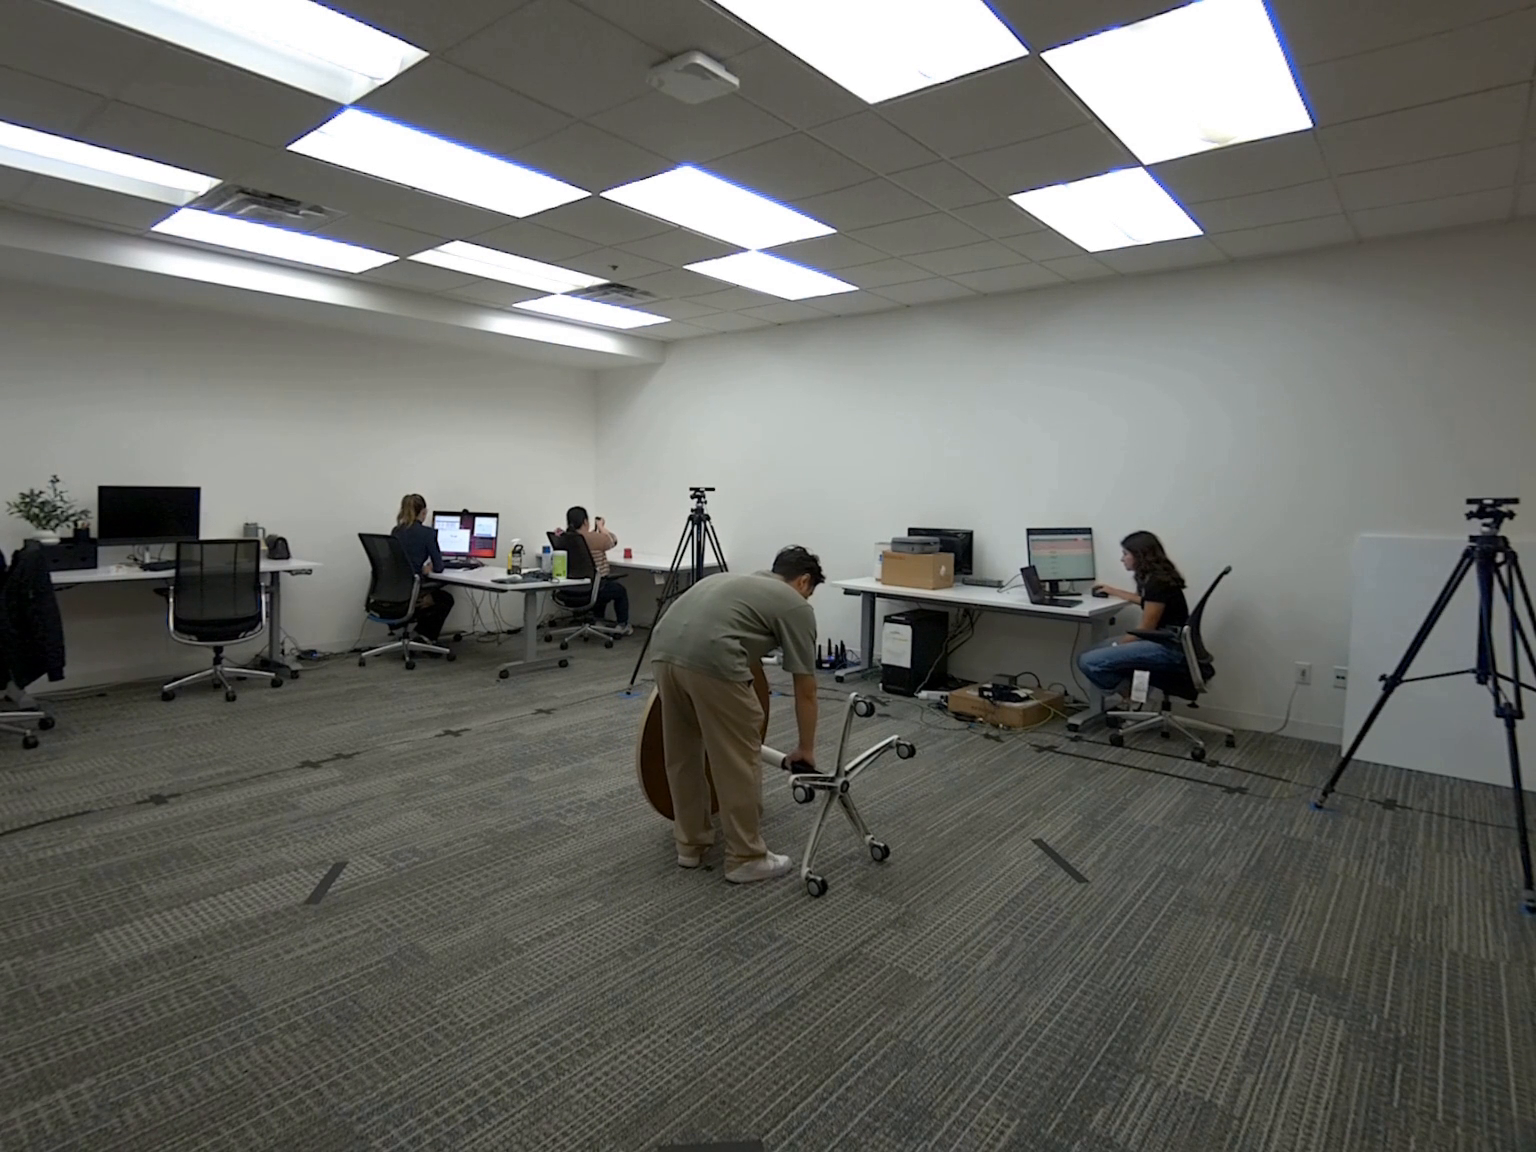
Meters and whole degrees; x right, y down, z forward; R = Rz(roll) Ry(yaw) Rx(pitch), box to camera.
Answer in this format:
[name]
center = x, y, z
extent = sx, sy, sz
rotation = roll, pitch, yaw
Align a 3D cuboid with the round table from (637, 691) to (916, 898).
[round table]
center = 0.041, 0.708, 3.289
extent = 0.816, 0.780, 0.761
rotation = 12, 10, 40
